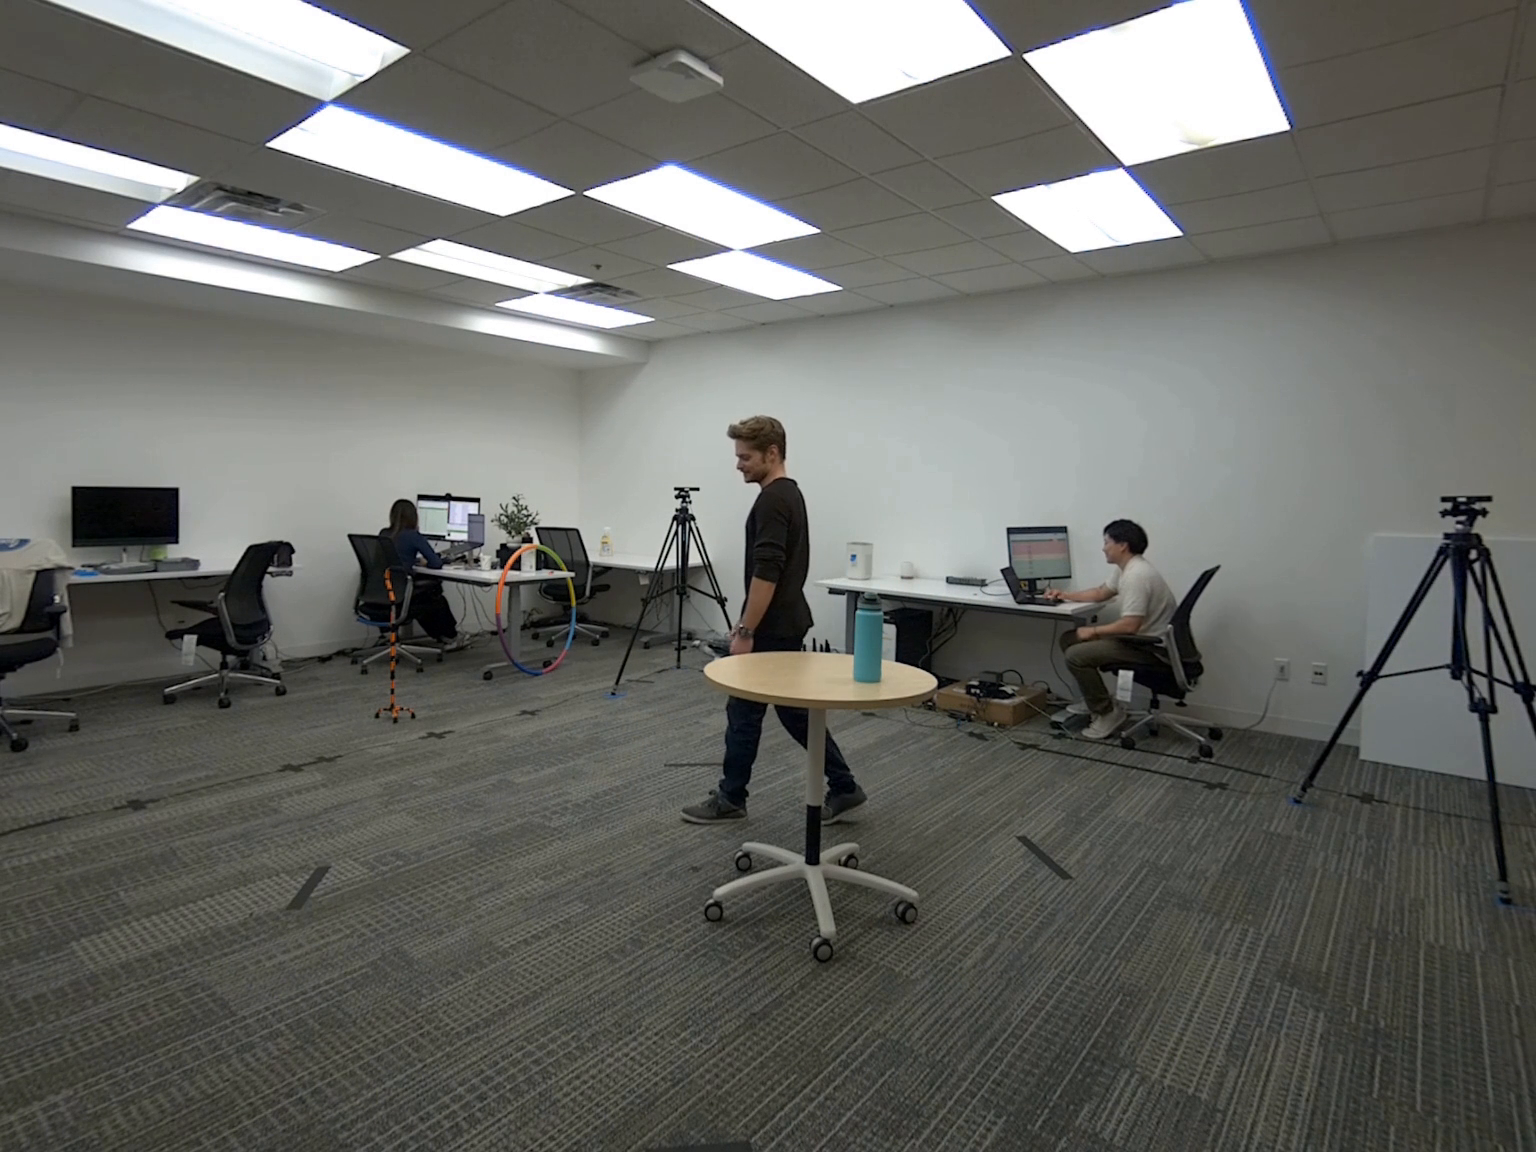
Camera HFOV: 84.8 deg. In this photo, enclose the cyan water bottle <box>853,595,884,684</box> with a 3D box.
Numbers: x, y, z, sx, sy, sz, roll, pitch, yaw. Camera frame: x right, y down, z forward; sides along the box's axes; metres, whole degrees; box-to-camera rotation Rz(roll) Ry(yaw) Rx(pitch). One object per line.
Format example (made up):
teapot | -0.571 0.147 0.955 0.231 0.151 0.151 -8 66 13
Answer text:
cyan water bottle | 0.310 0.189 2.727 0.092 0.282 0.093 0 3 -2
